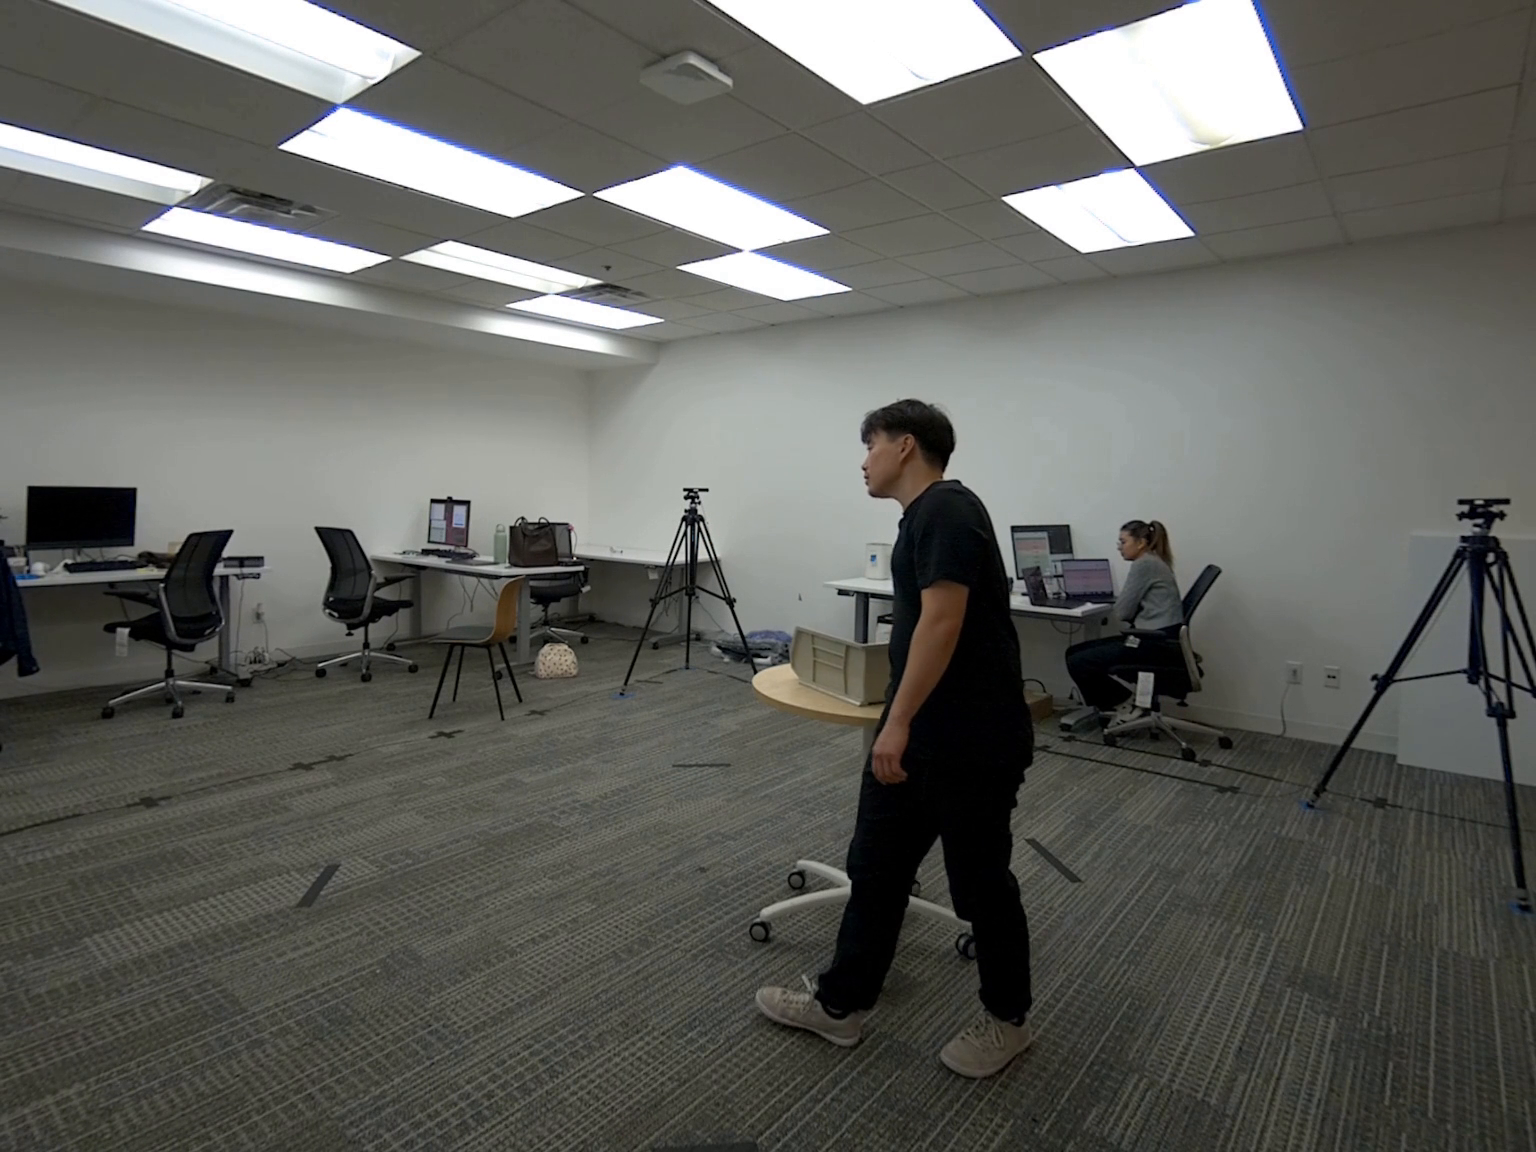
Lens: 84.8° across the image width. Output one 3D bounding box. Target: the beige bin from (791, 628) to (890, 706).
[{"bbox_3d":[0.335,0.254,2.641,0.411,0.188,0.389,-1,7,-29],"label":"beige bin"}]
